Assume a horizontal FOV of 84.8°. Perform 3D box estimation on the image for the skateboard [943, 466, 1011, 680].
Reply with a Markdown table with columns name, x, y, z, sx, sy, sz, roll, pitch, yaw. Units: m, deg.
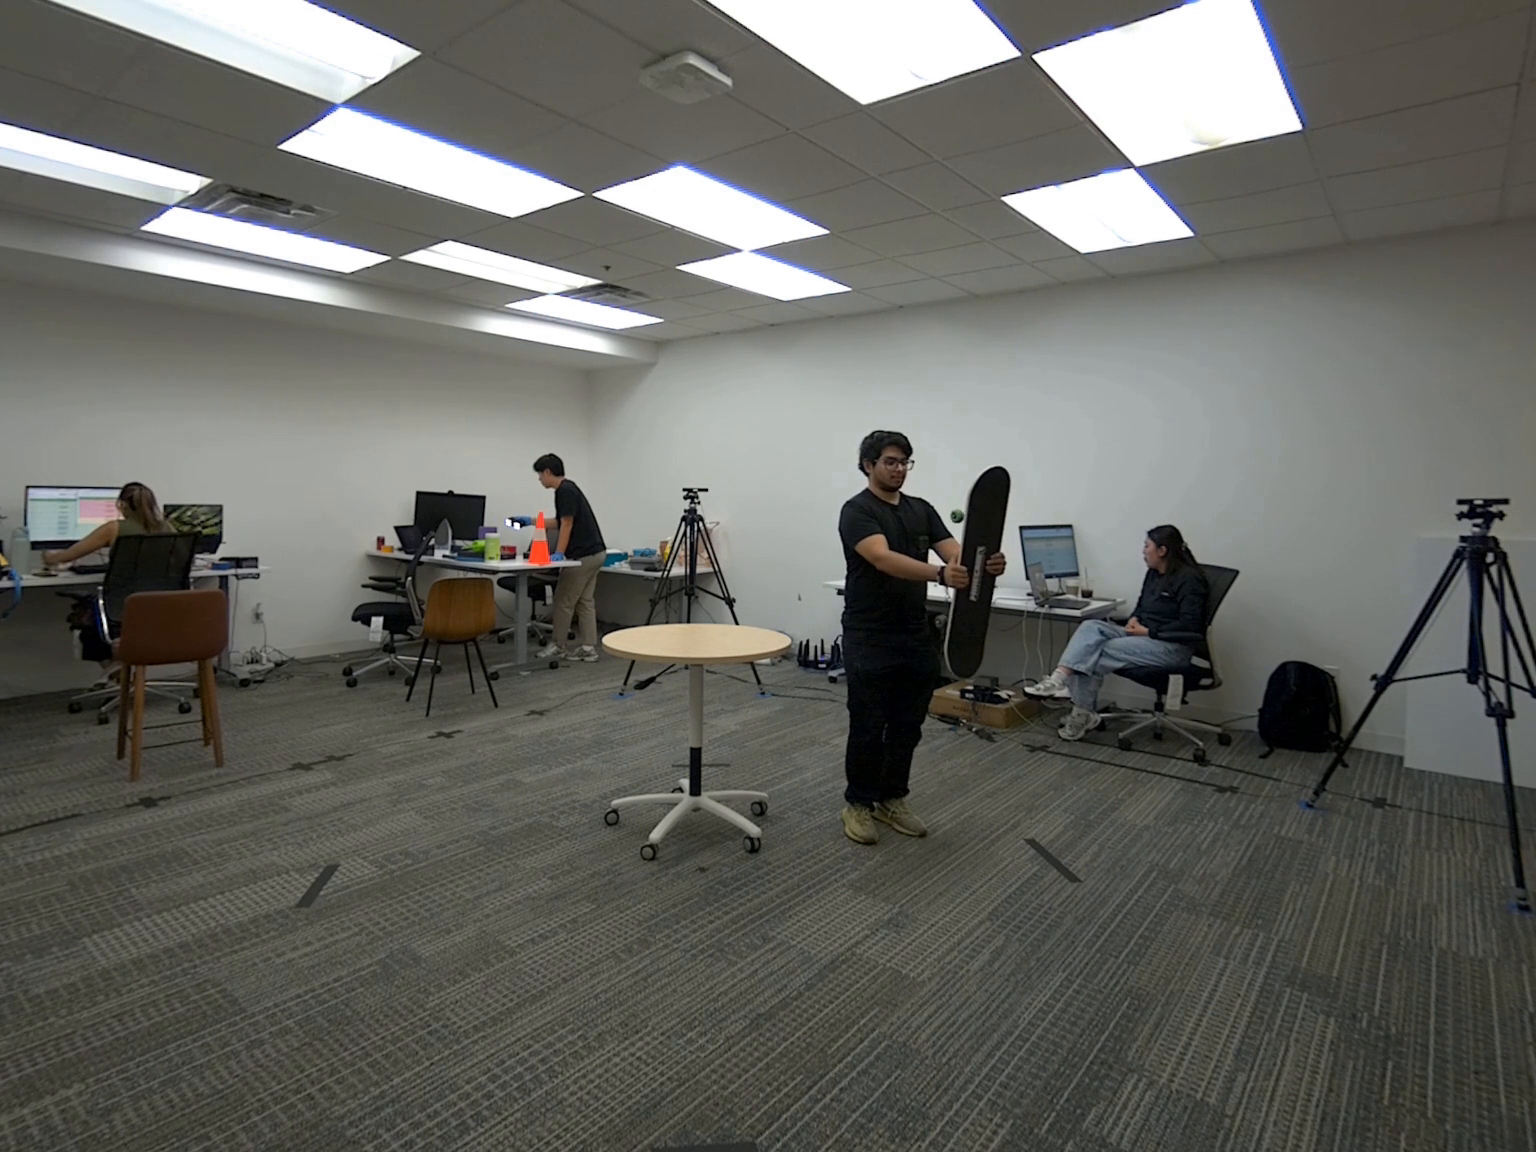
| name | x | y | z | sx | sy | sz | roll | pitch | yaw |
| --- | --- | --- | --- | --- | --- | --- | --- | --- | --- |
| skateboard | 0.733 | -0.019 | 3.103 | 0.188 | 0.778 | 0.114 | 0 | 12 | -30 |
